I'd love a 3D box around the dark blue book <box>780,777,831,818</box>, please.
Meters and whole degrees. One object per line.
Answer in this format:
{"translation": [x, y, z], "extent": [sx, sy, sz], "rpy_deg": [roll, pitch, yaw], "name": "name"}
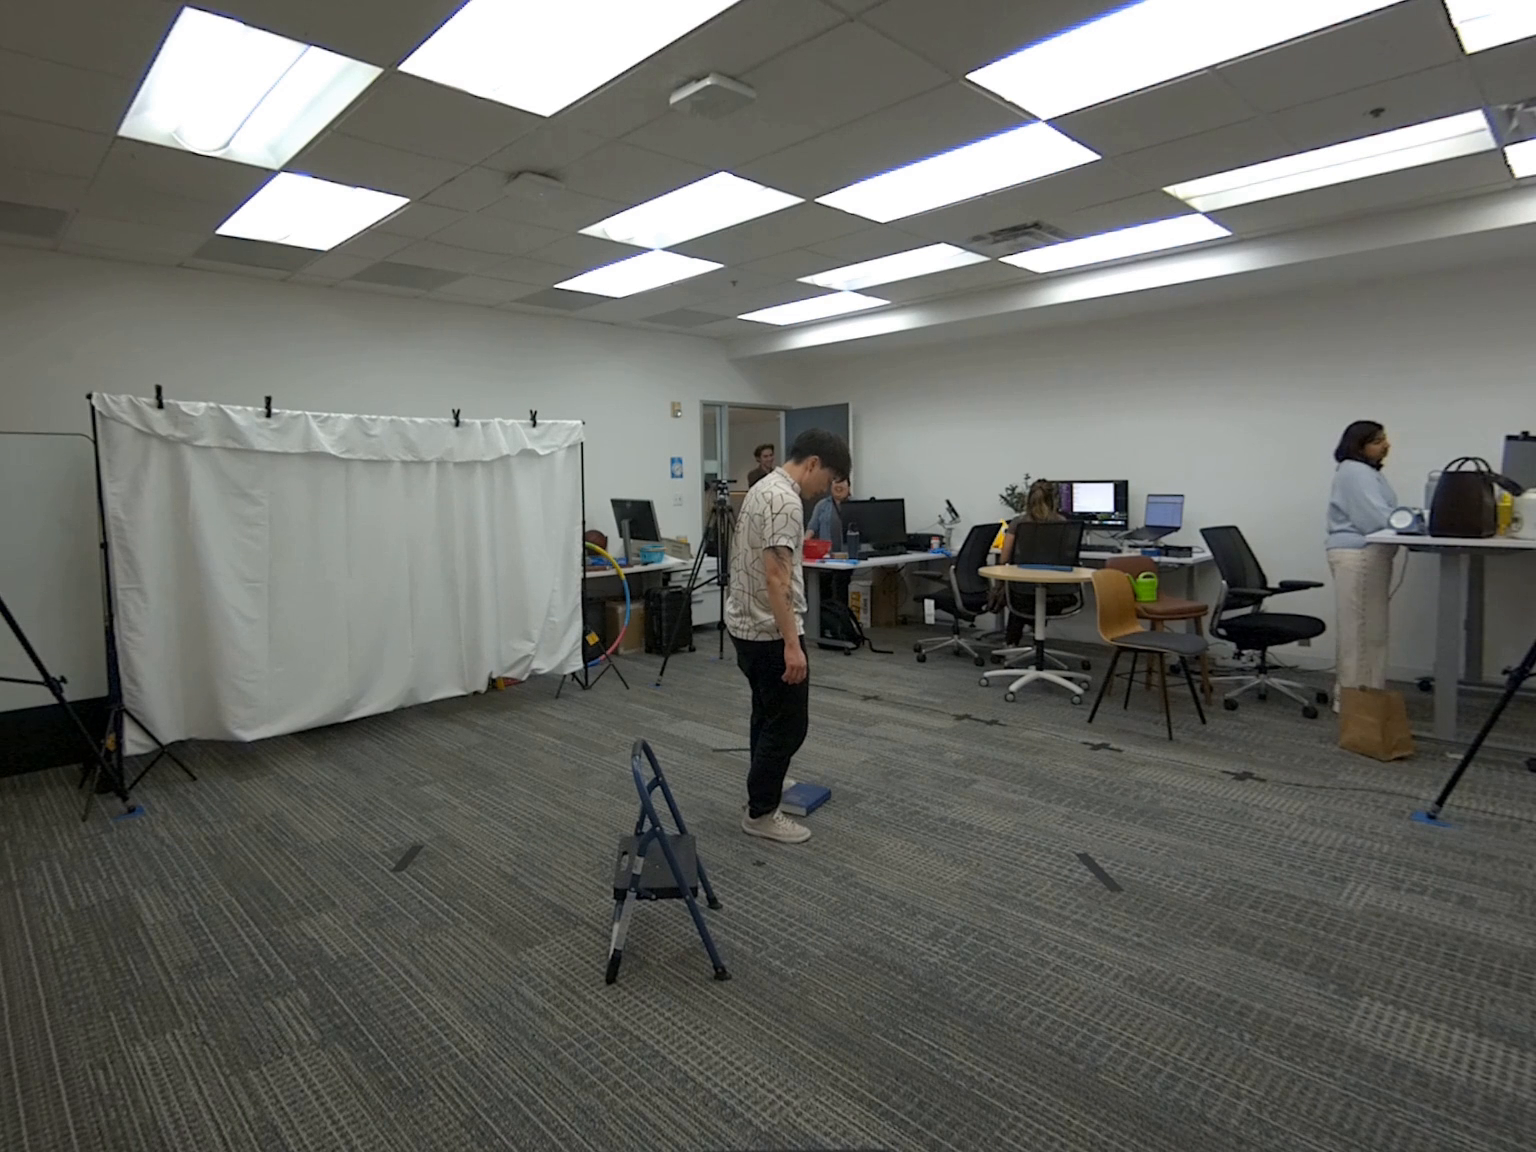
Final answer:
{"translation": [0.143, 0.955, 3.663], "extent": [0.168, 0.045, 0.240], "rpy_deg": [3, 7, 30], "name": "dark blue book"}
